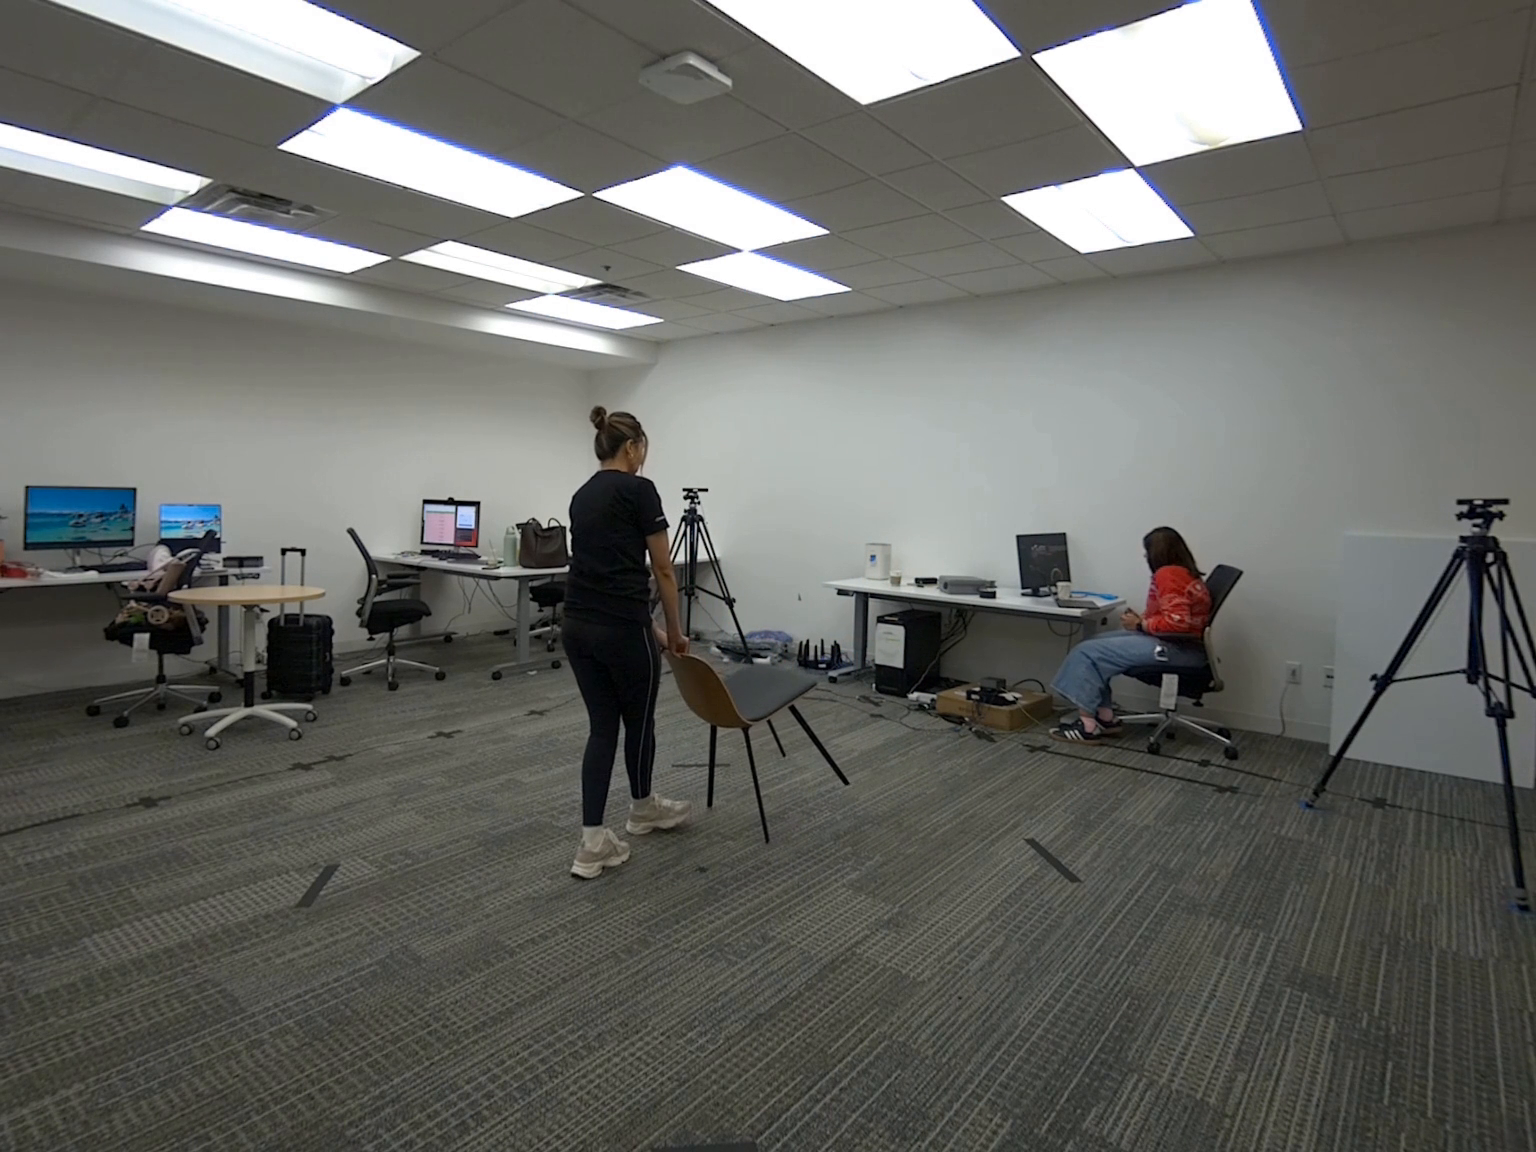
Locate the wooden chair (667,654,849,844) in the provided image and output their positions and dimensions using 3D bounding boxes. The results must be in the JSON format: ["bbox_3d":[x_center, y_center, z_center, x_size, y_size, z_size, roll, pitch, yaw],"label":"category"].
[{"bbox_3d":[-0.084,0.548,3.543,0.517,0.860,0.493,-30,19,-28],"label":"wooden chair"}]
